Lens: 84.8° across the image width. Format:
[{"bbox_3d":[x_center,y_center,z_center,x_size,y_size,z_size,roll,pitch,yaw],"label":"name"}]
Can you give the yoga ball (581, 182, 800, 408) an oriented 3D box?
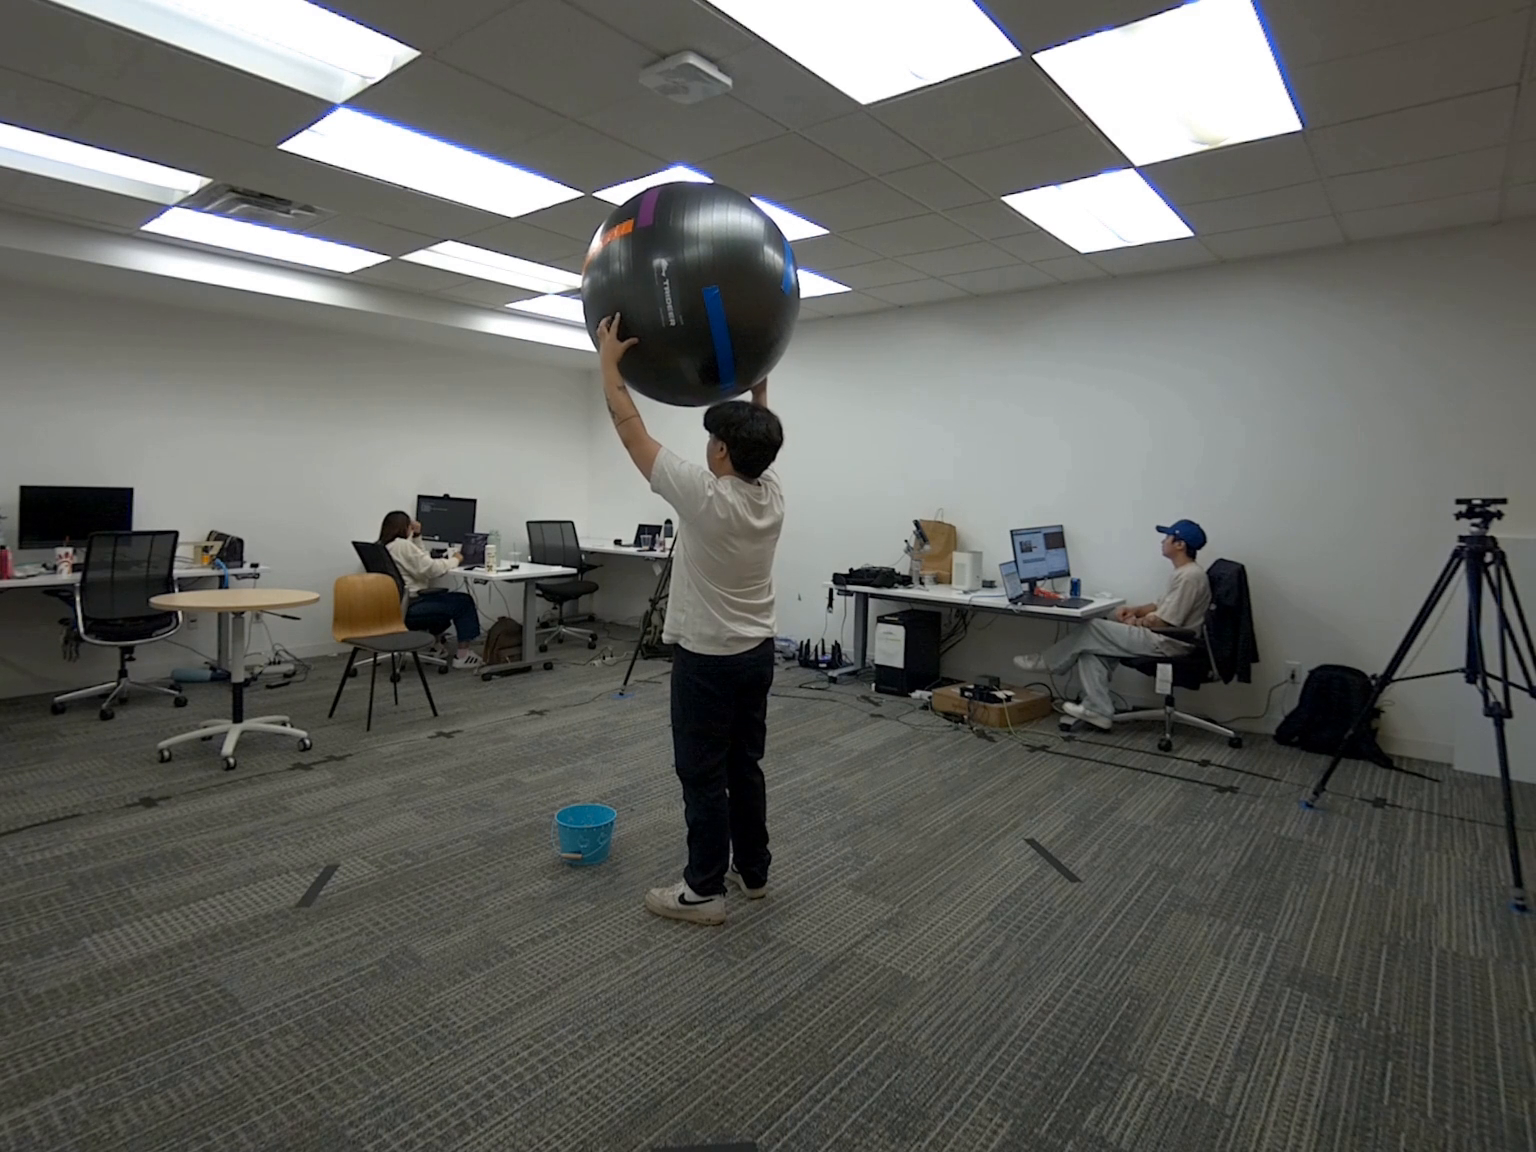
[{"bbox_3d":[-0.280,-0.971,2.957,0.757,0.755,0.762,1,4,-2],"label":"yoga ball"}]
